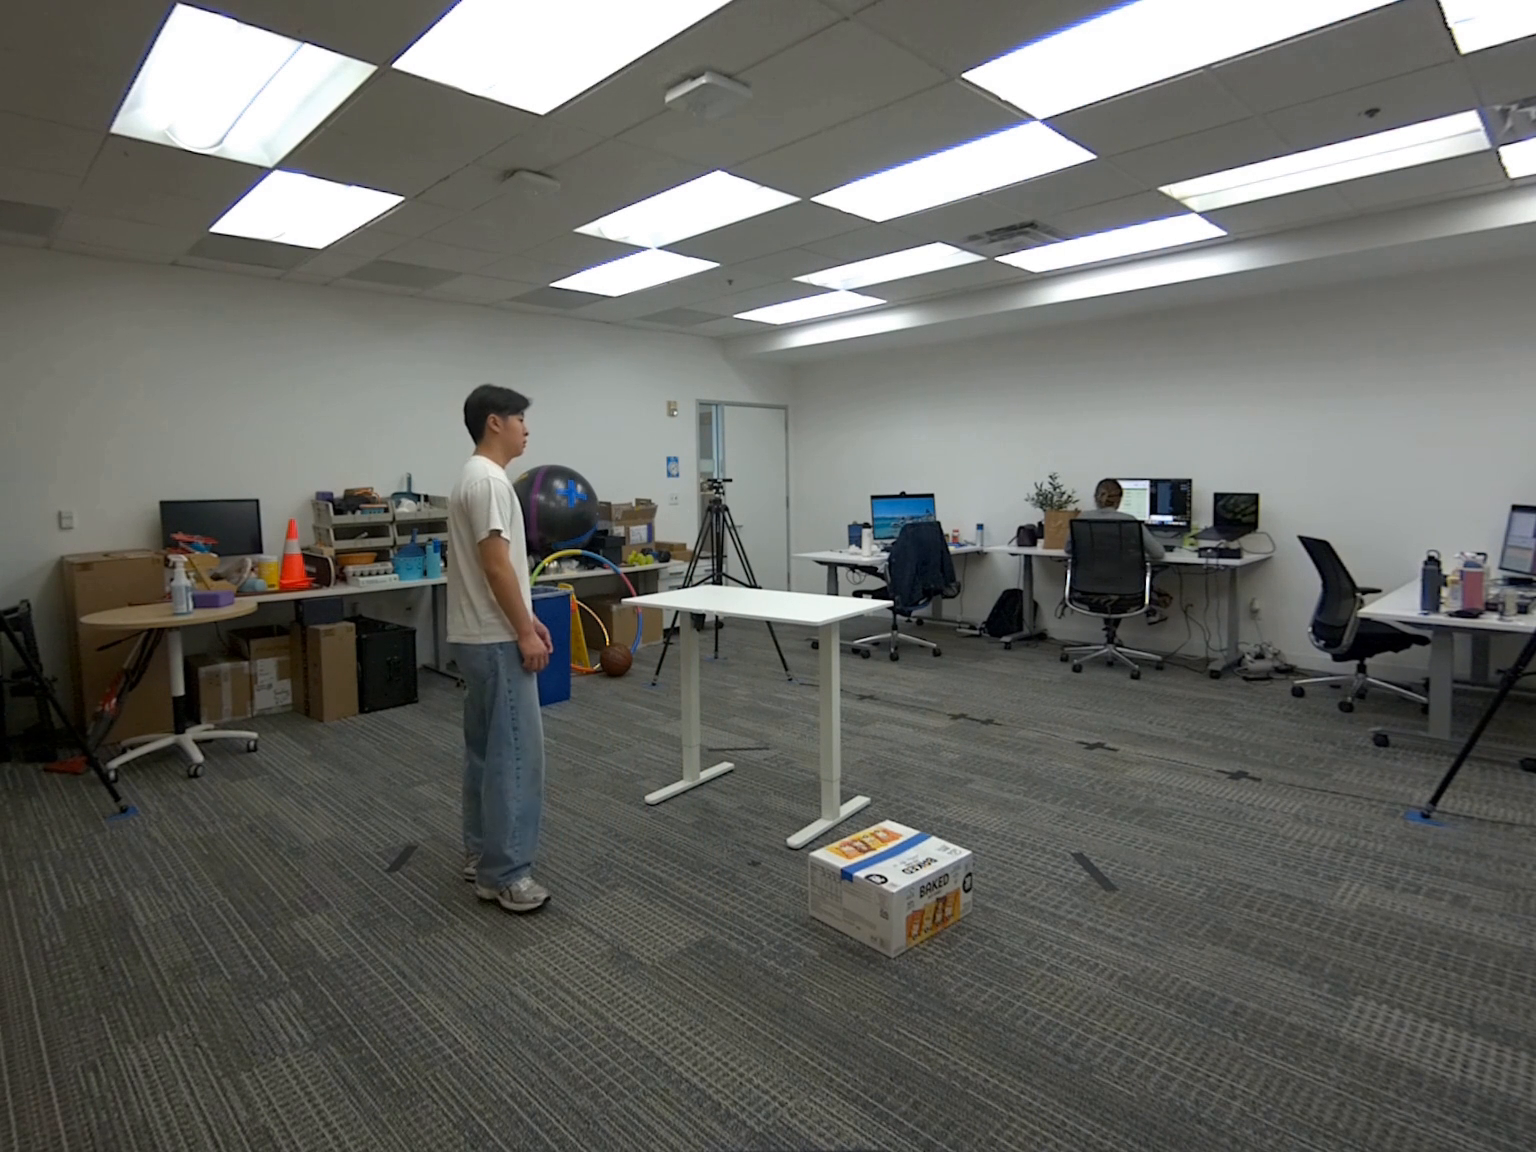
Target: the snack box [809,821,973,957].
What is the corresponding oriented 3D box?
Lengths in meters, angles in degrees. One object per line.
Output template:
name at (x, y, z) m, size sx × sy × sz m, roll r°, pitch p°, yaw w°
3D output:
snack box at (0.388, 0.975, 2.718) m, size 0.394 × 0.205 × 0.351 m, roll -6°, pitch 8°, yaw -41°
